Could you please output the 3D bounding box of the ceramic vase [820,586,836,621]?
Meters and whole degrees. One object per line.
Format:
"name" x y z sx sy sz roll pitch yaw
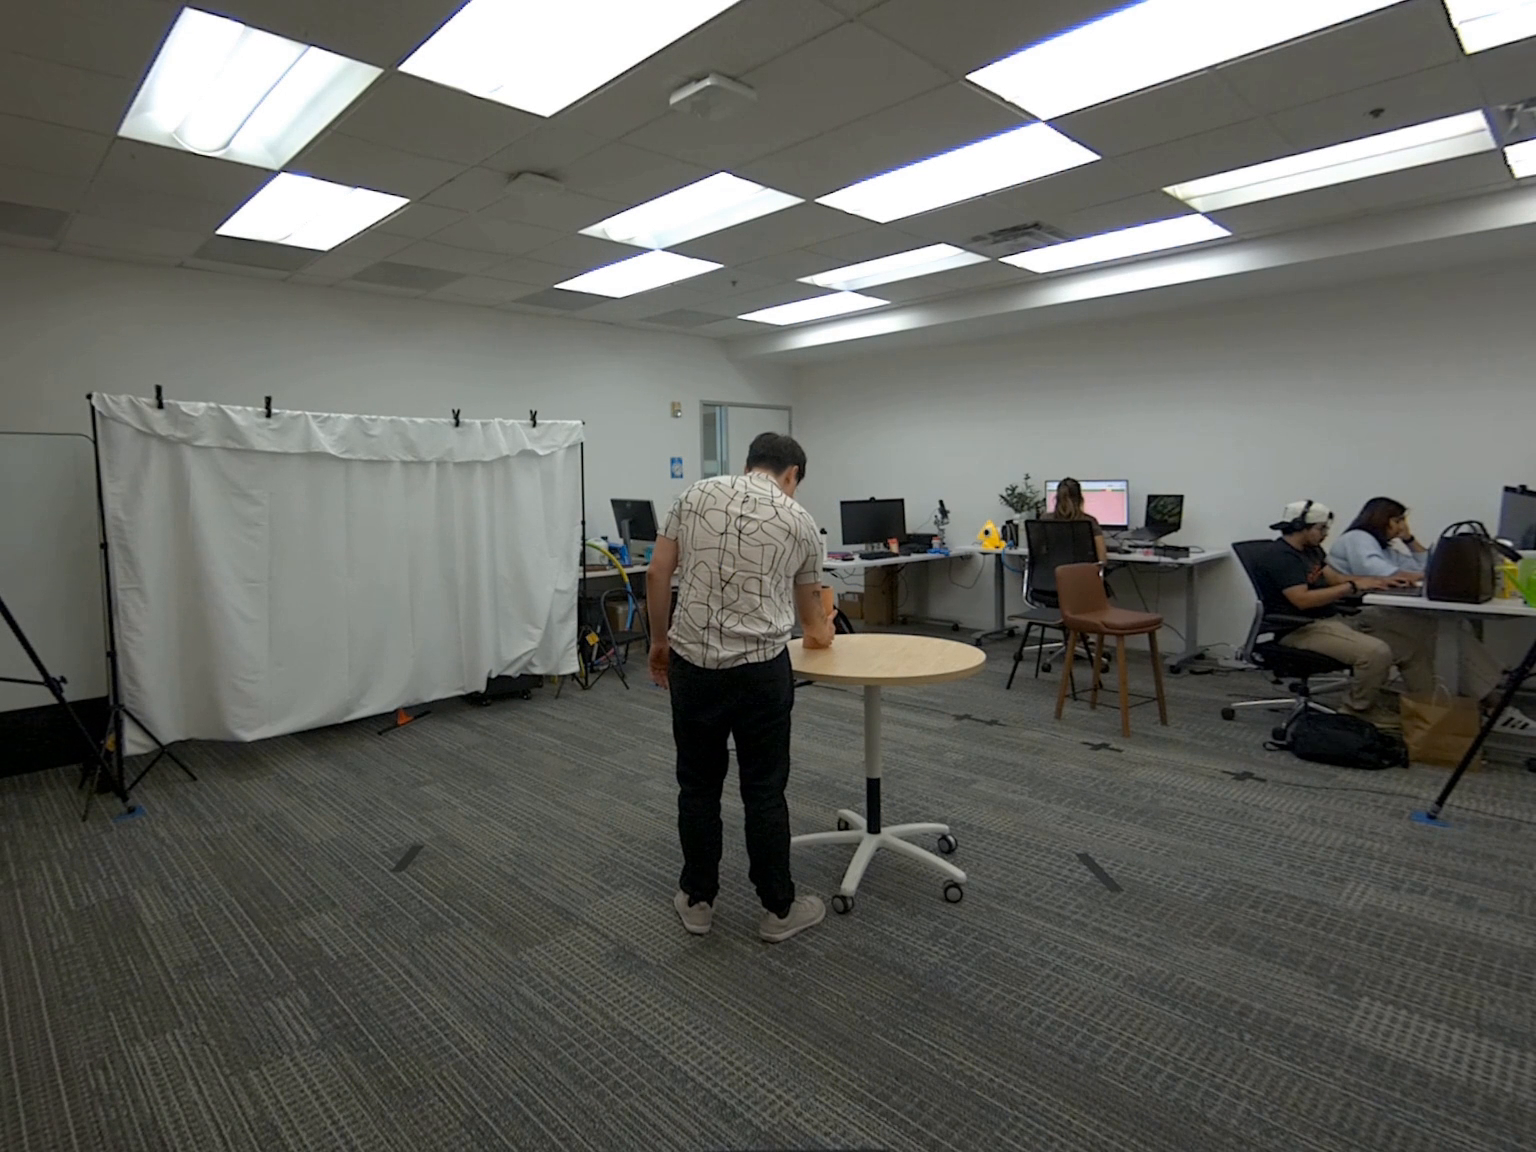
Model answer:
"ceramic vase" 0.182 0.151 3.134 0.154 0.219 0.138 -4 4 -39
